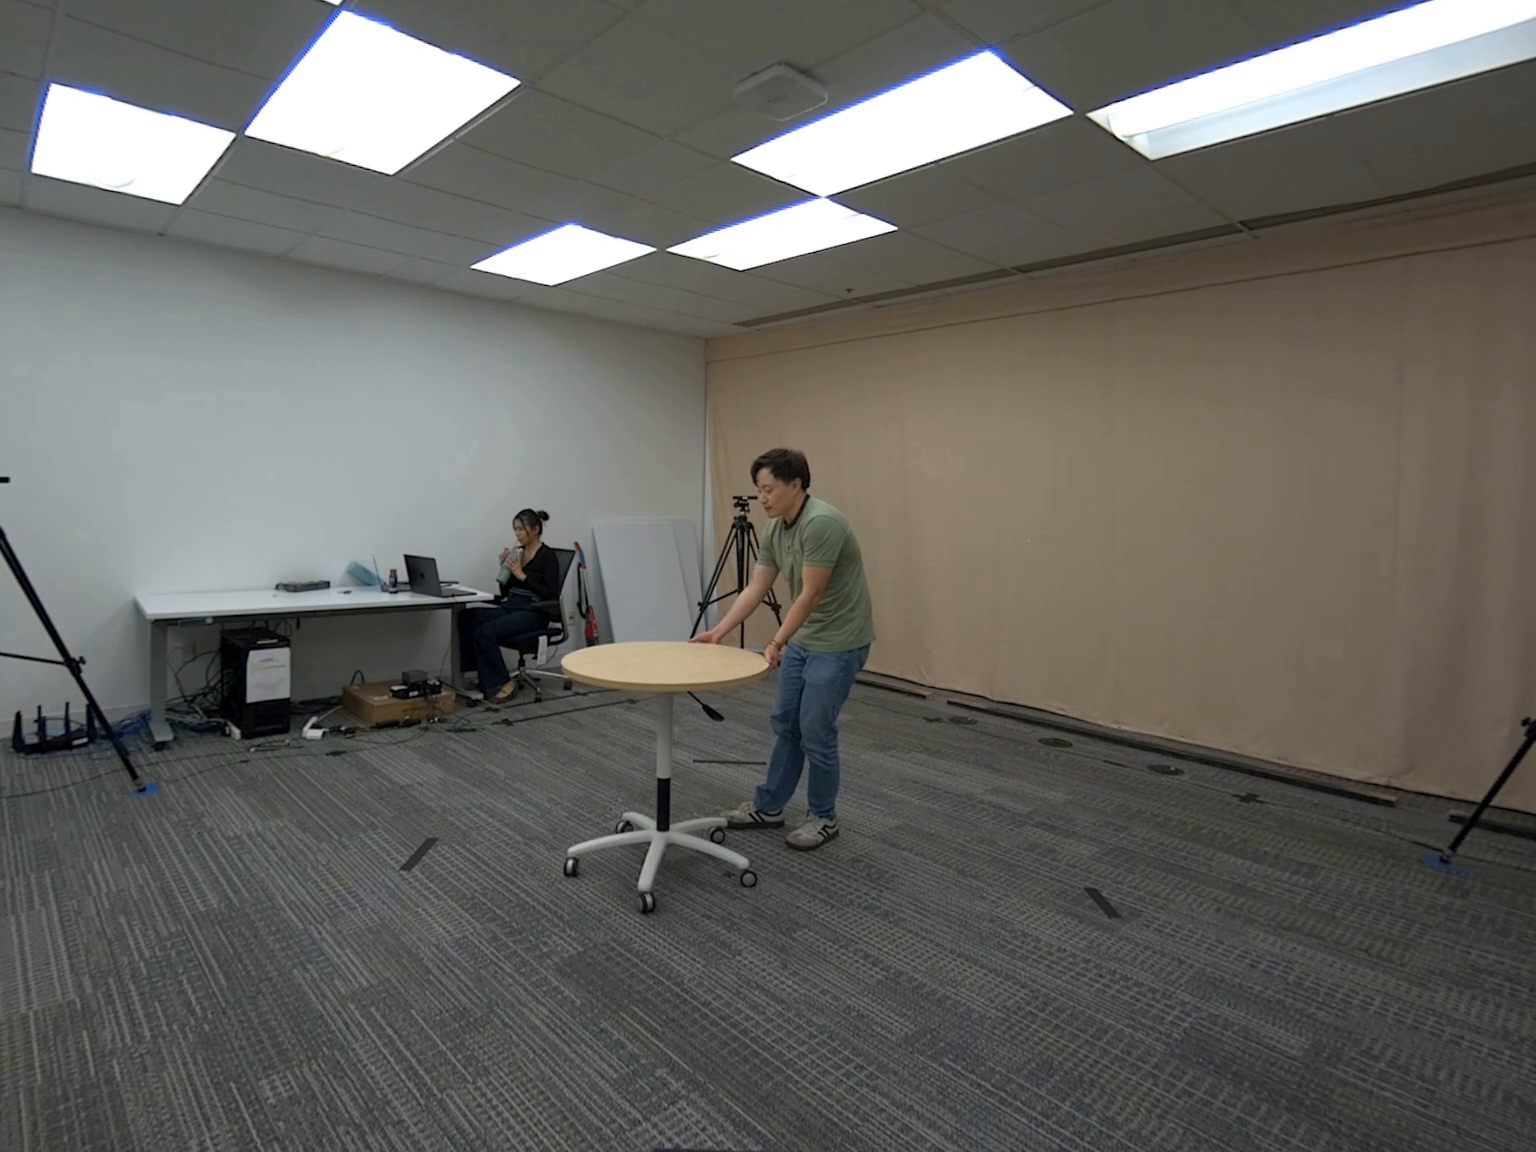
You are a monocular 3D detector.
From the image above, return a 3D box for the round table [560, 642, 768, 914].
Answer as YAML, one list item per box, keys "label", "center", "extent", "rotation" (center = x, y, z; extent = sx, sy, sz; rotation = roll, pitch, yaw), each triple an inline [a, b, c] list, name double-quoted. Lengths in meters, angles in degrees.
- label: "round table"
  center: [-0.395, 0.705, 3.139]
  extent: [0.763, 0.792, 0.767]
  rotation: [1, 4, -1]
